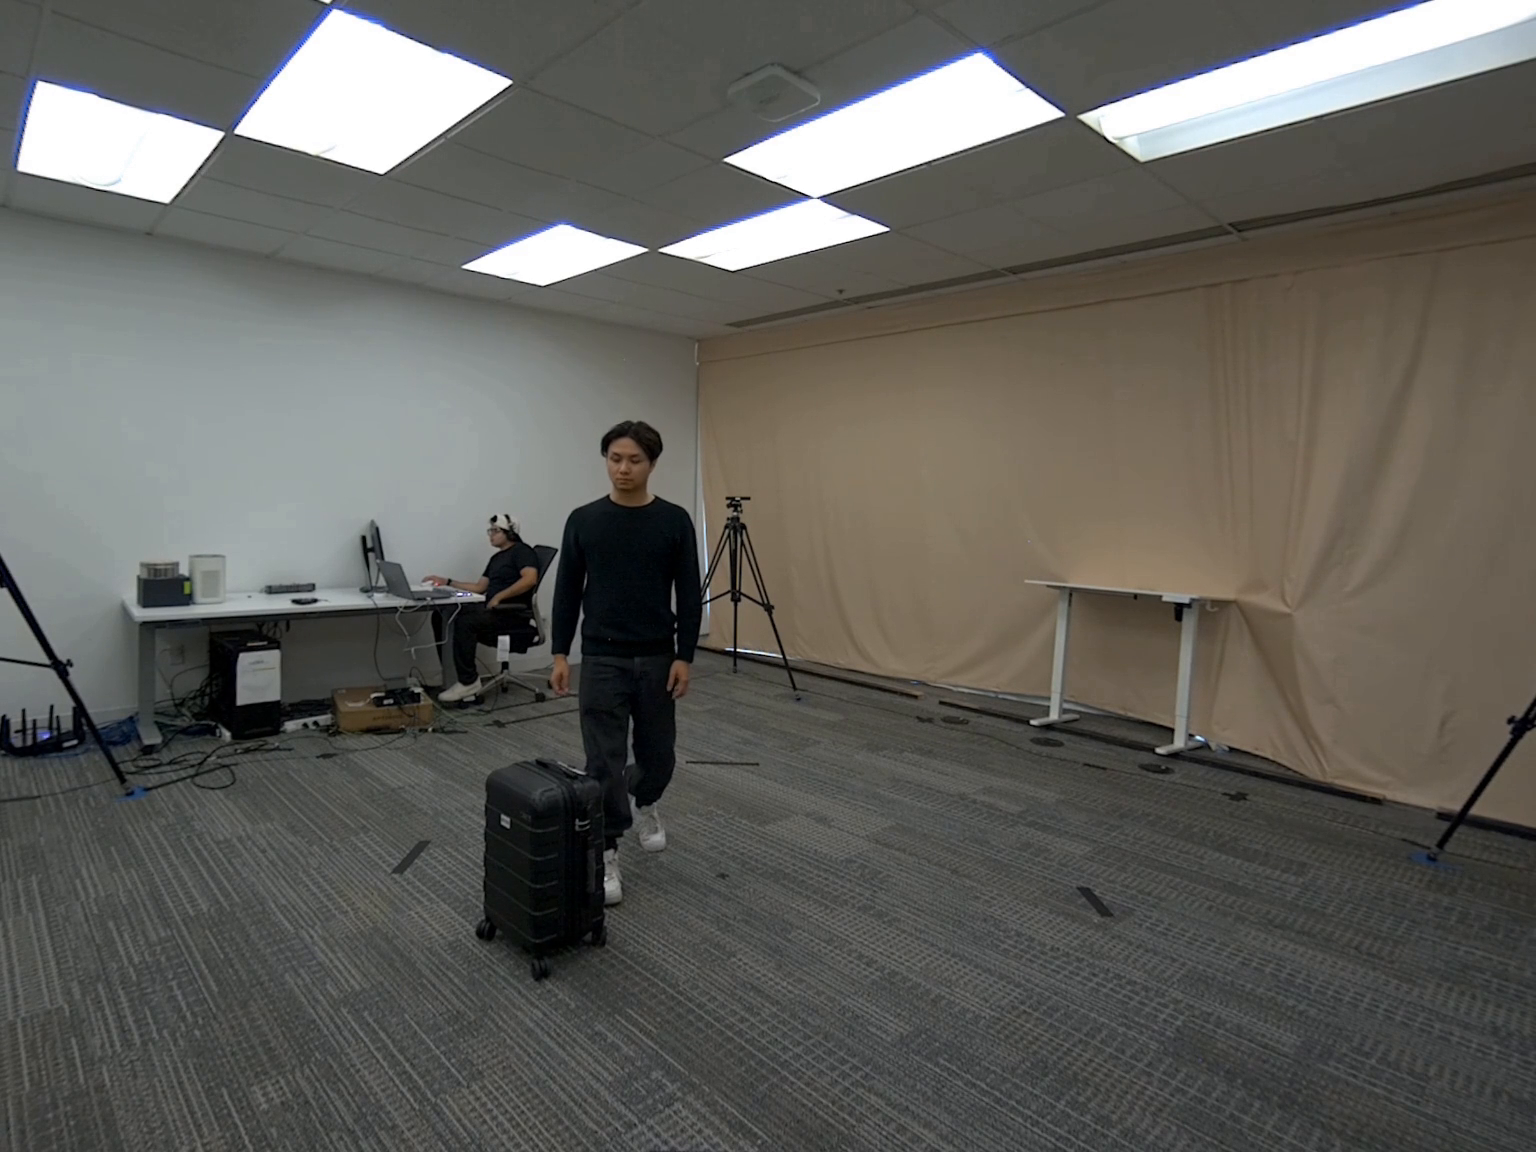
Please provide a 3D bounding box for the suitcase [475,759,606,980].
[{"bbox_3d":[-0.706,0.868,2.600,0.242,0.548,0.385,-2,5,-44],"label":"suitcase"}]
